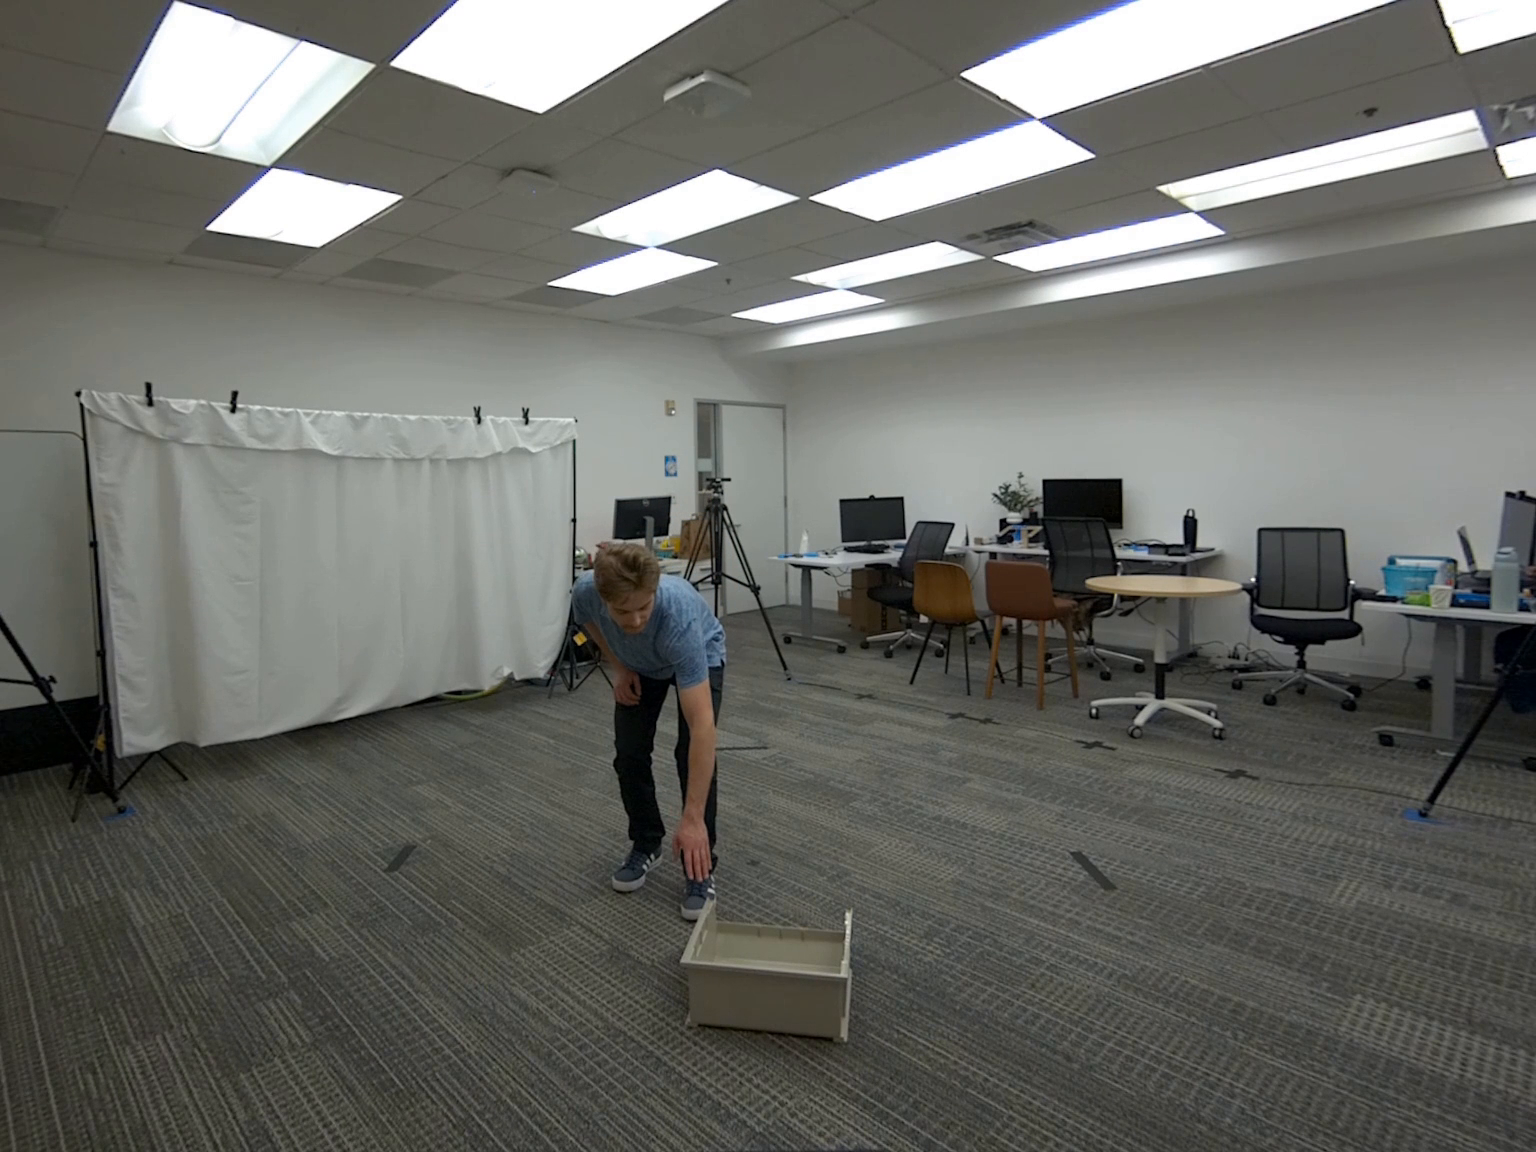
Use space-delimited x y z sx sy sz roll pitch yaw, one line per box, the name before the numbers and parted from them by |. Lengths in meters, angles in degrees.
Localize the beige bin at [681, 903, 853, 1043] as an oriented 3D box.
beige bin | 0.015 1.046 2.313 0.426 0.188 0.376 0 7 9
